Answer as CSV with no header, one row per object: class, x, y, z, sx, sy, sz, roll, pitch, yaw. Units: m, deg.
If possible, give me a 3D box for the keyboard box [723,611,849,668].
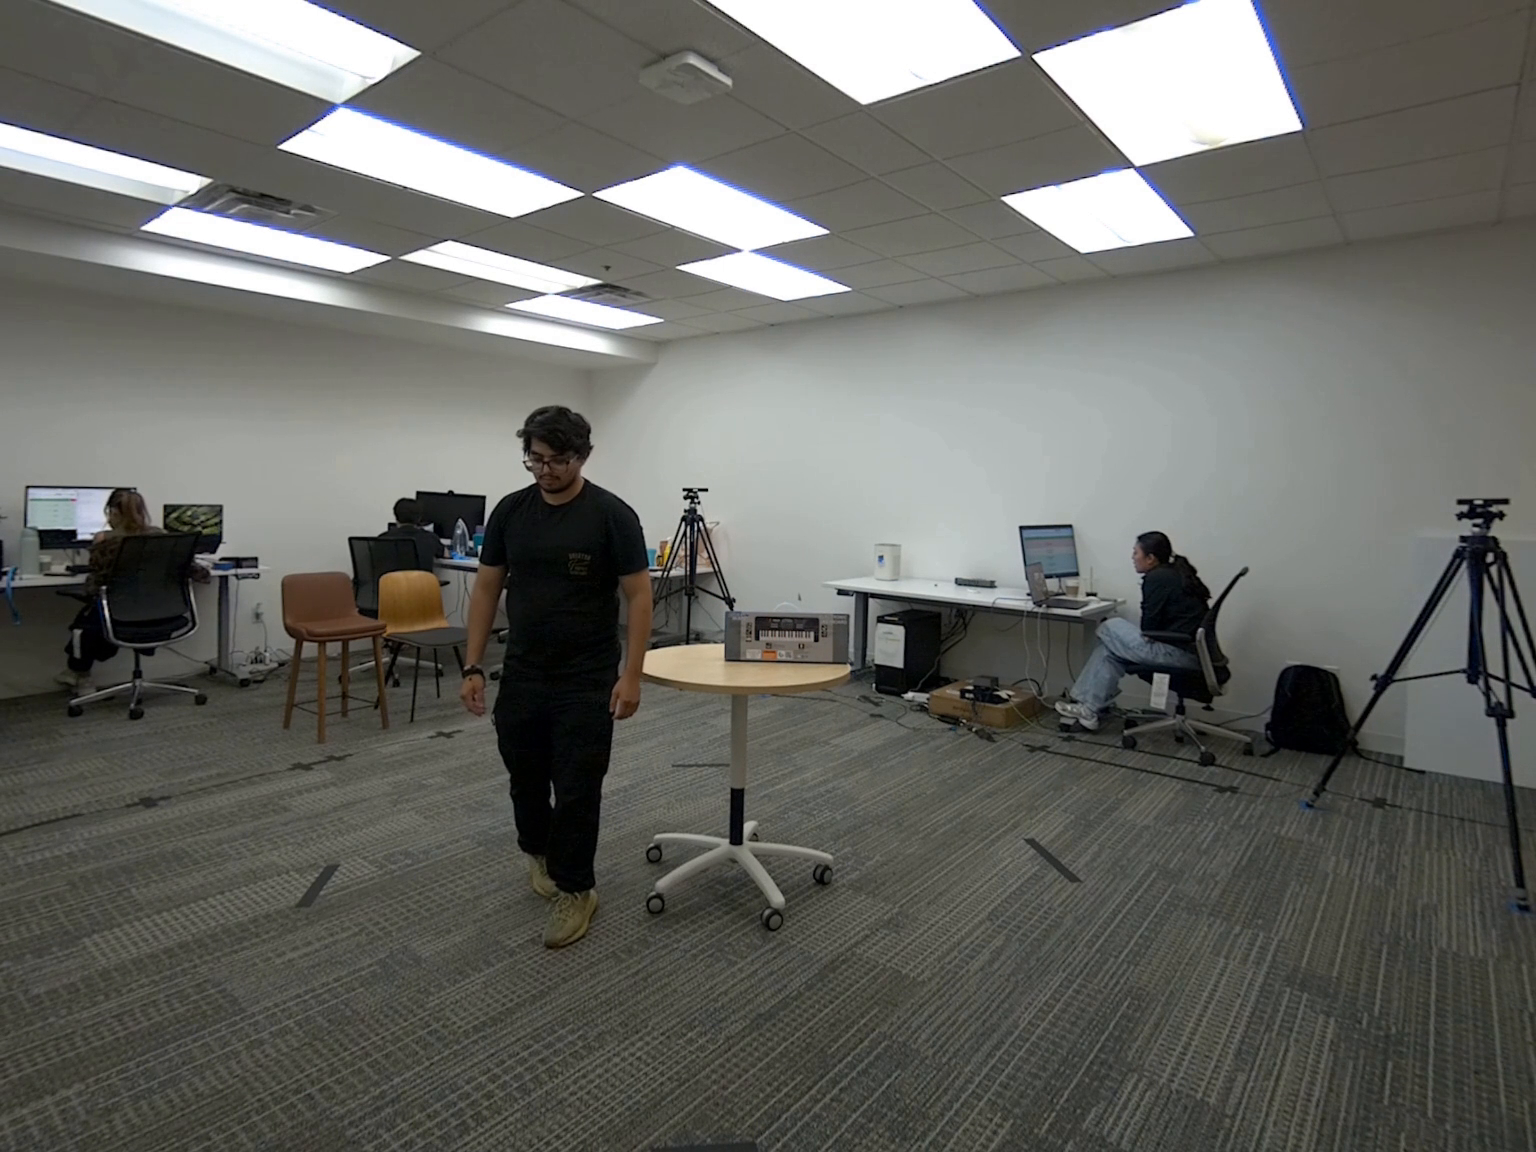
keyboard box,0.059,0.225,3.000,0.437,0.175,0.059,2,2,1
